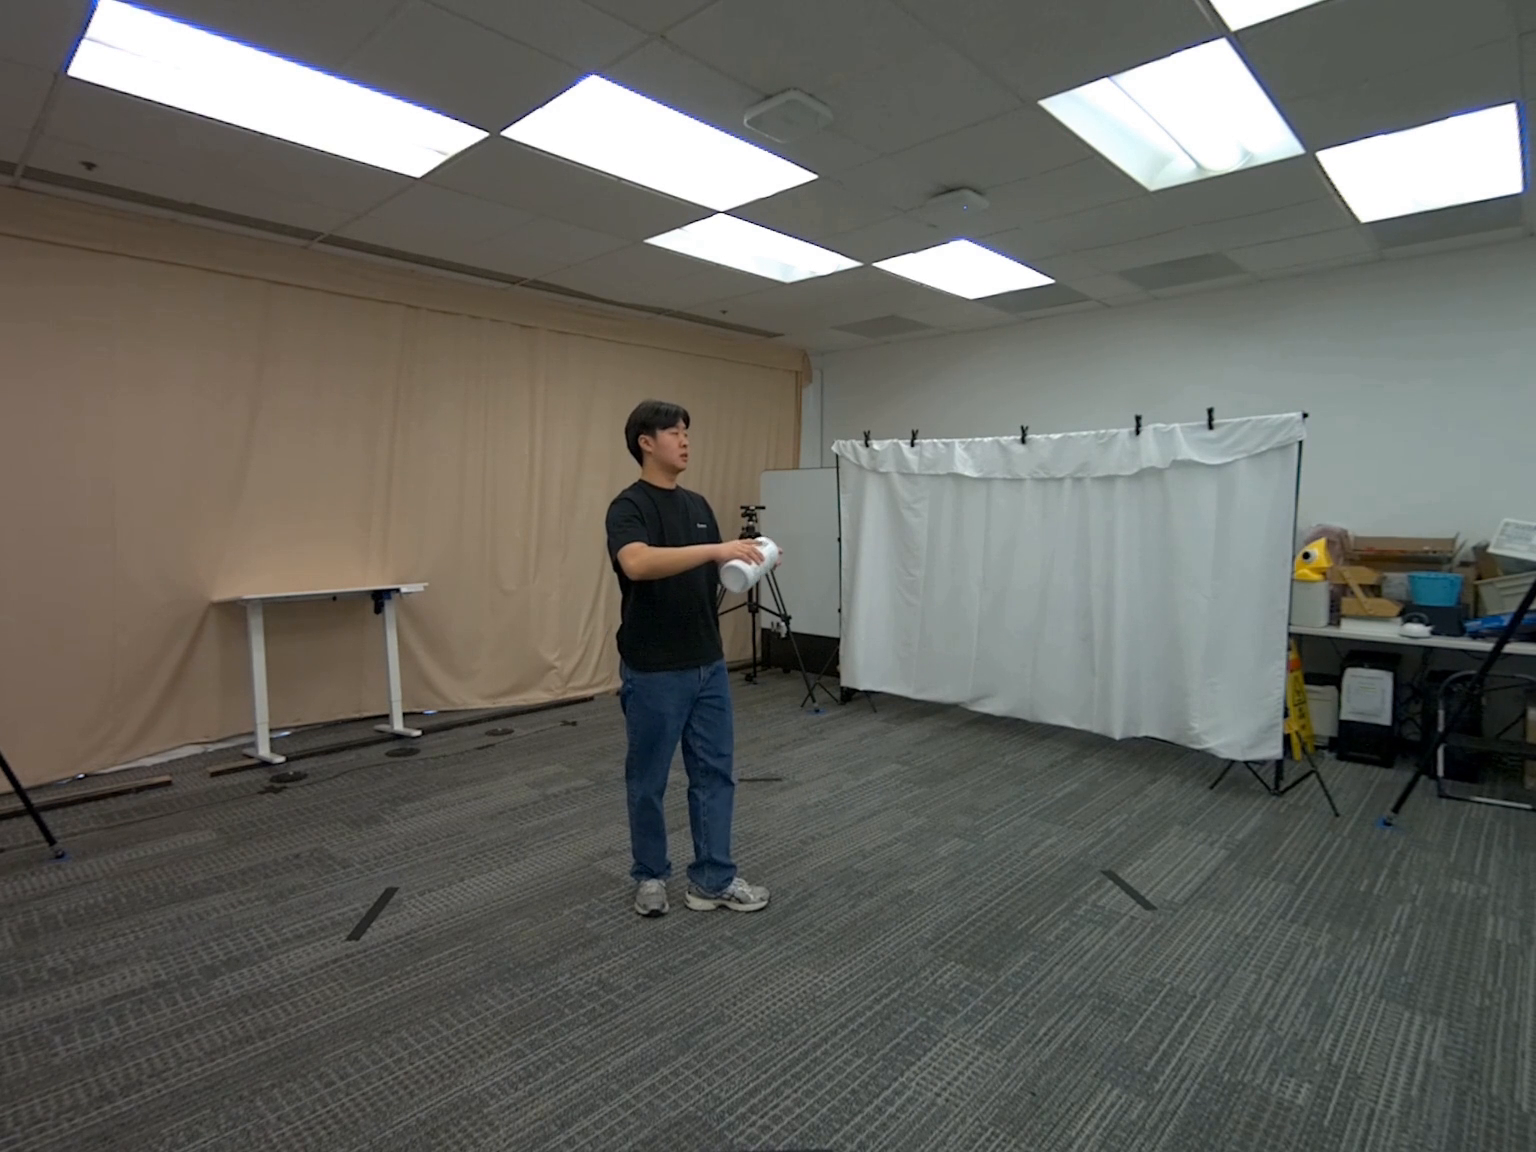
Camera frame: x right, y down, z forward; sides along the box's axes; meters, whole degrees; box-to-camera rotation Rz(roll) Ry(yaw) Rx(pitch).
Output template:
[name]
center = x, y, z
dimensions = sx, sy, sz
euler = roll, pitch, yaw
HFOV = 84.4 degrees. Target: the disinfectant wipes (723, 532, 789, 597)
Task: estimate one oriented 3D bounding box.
[disinfectant wipes]
center = -0.037, -0.041, 2.682
dimensions = 0.121, 0.116, 0.215
euler = 2, 26, 25
